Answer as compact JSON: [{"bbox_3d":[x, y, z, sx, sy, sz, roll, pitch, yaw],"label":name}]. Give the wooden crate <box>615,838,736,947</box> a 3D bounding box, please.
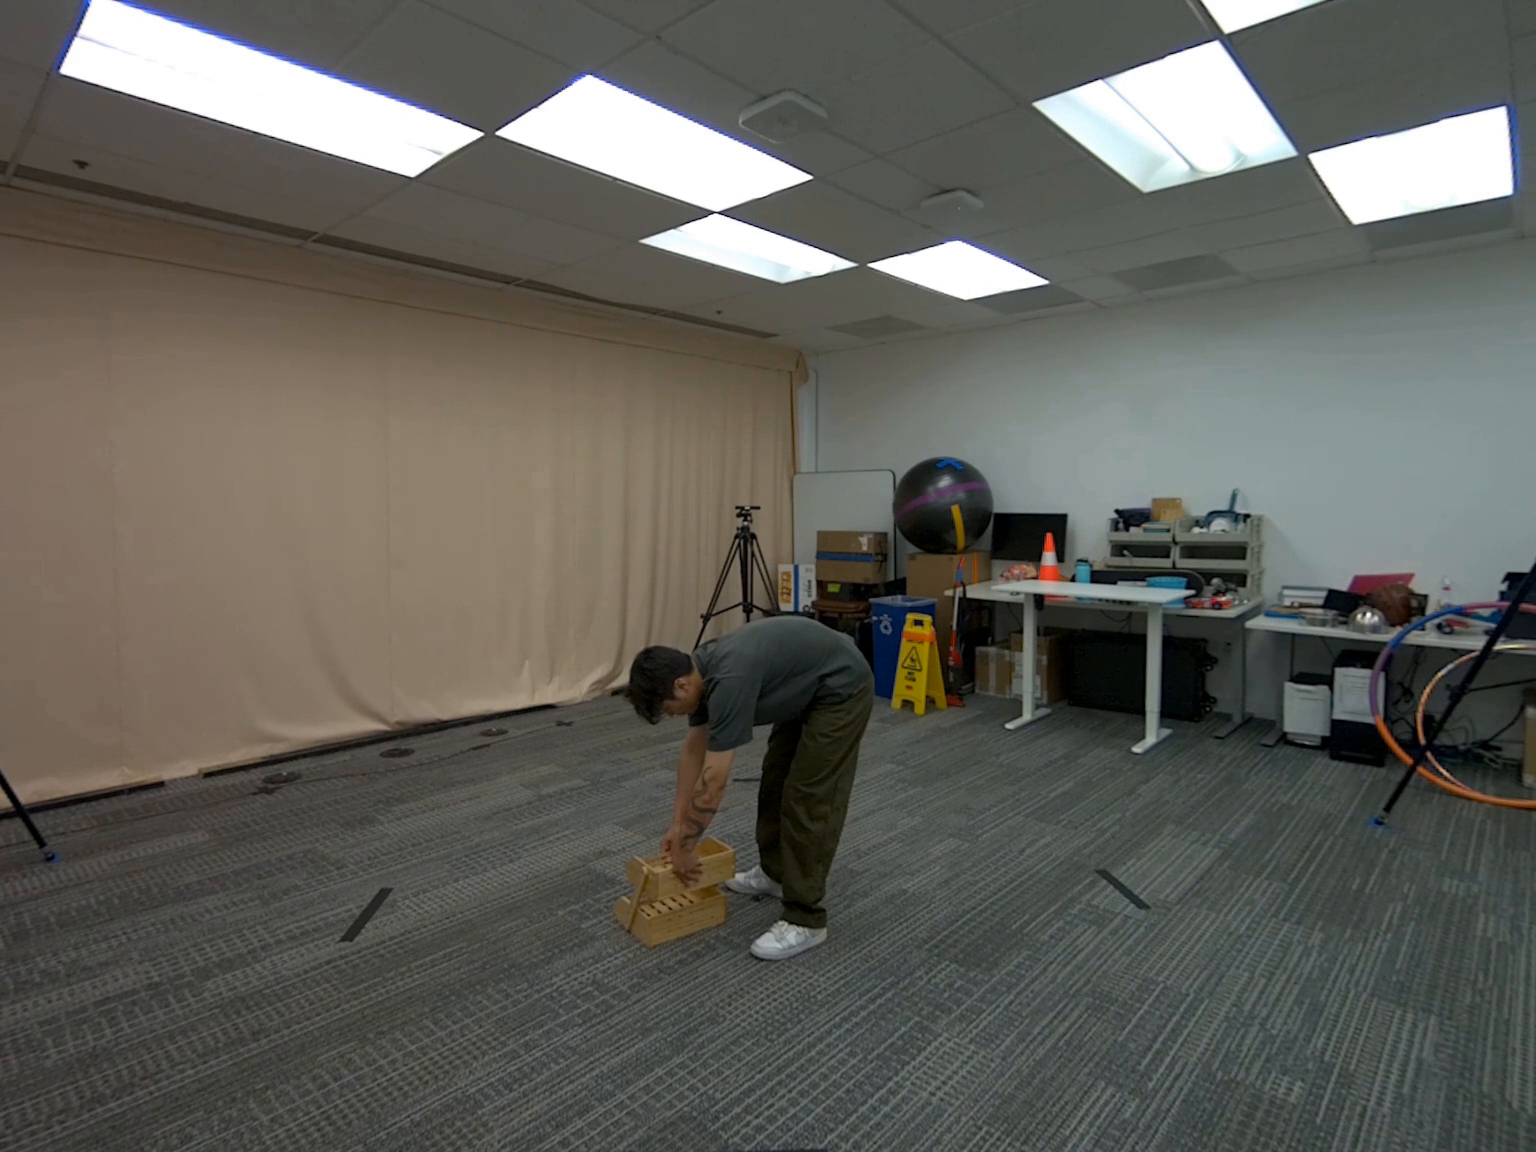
[{"bbox_3d":[-0.317,1.025,2.808,0.315,0.273,0.312,-3,5,-37],"label":"wooden crate"}]
